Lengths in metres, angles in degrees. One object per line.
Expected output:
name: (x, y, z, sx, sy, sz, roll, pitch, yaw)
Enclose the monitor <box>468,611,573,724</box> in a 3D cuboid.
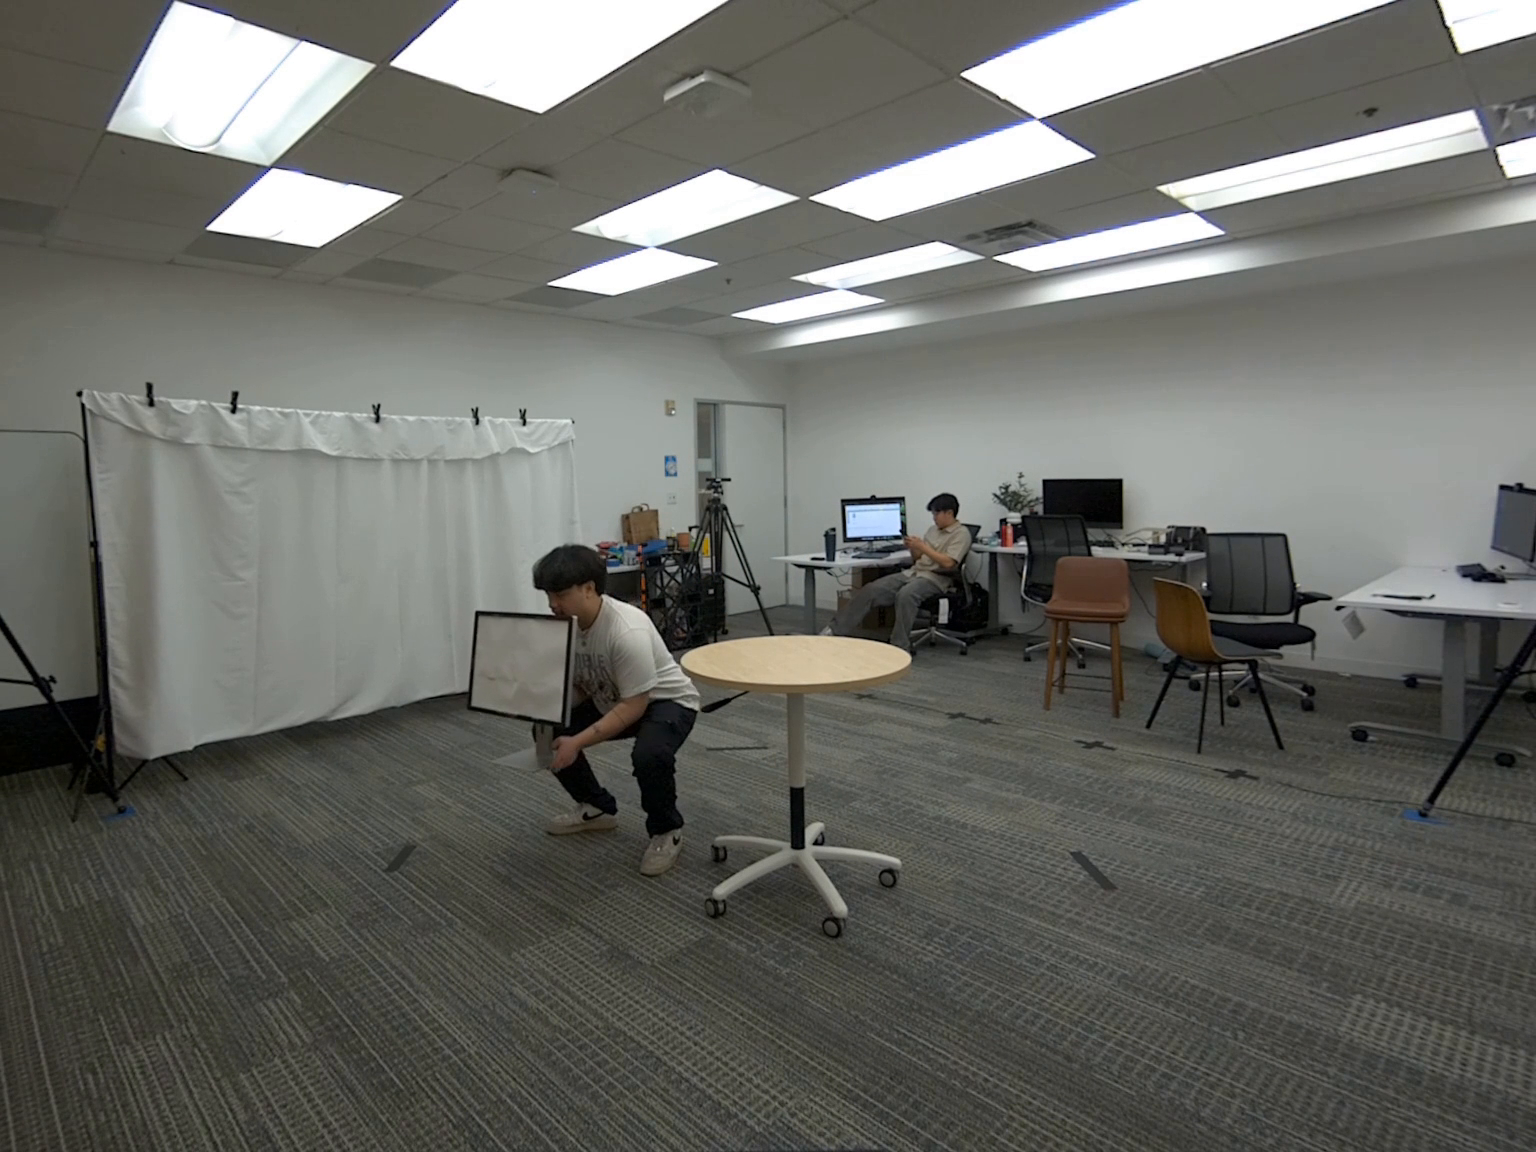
monitor: (-0.819, 0.395, 3.020, 0.581, 0.554, 0.204, -1, 0, 39)
